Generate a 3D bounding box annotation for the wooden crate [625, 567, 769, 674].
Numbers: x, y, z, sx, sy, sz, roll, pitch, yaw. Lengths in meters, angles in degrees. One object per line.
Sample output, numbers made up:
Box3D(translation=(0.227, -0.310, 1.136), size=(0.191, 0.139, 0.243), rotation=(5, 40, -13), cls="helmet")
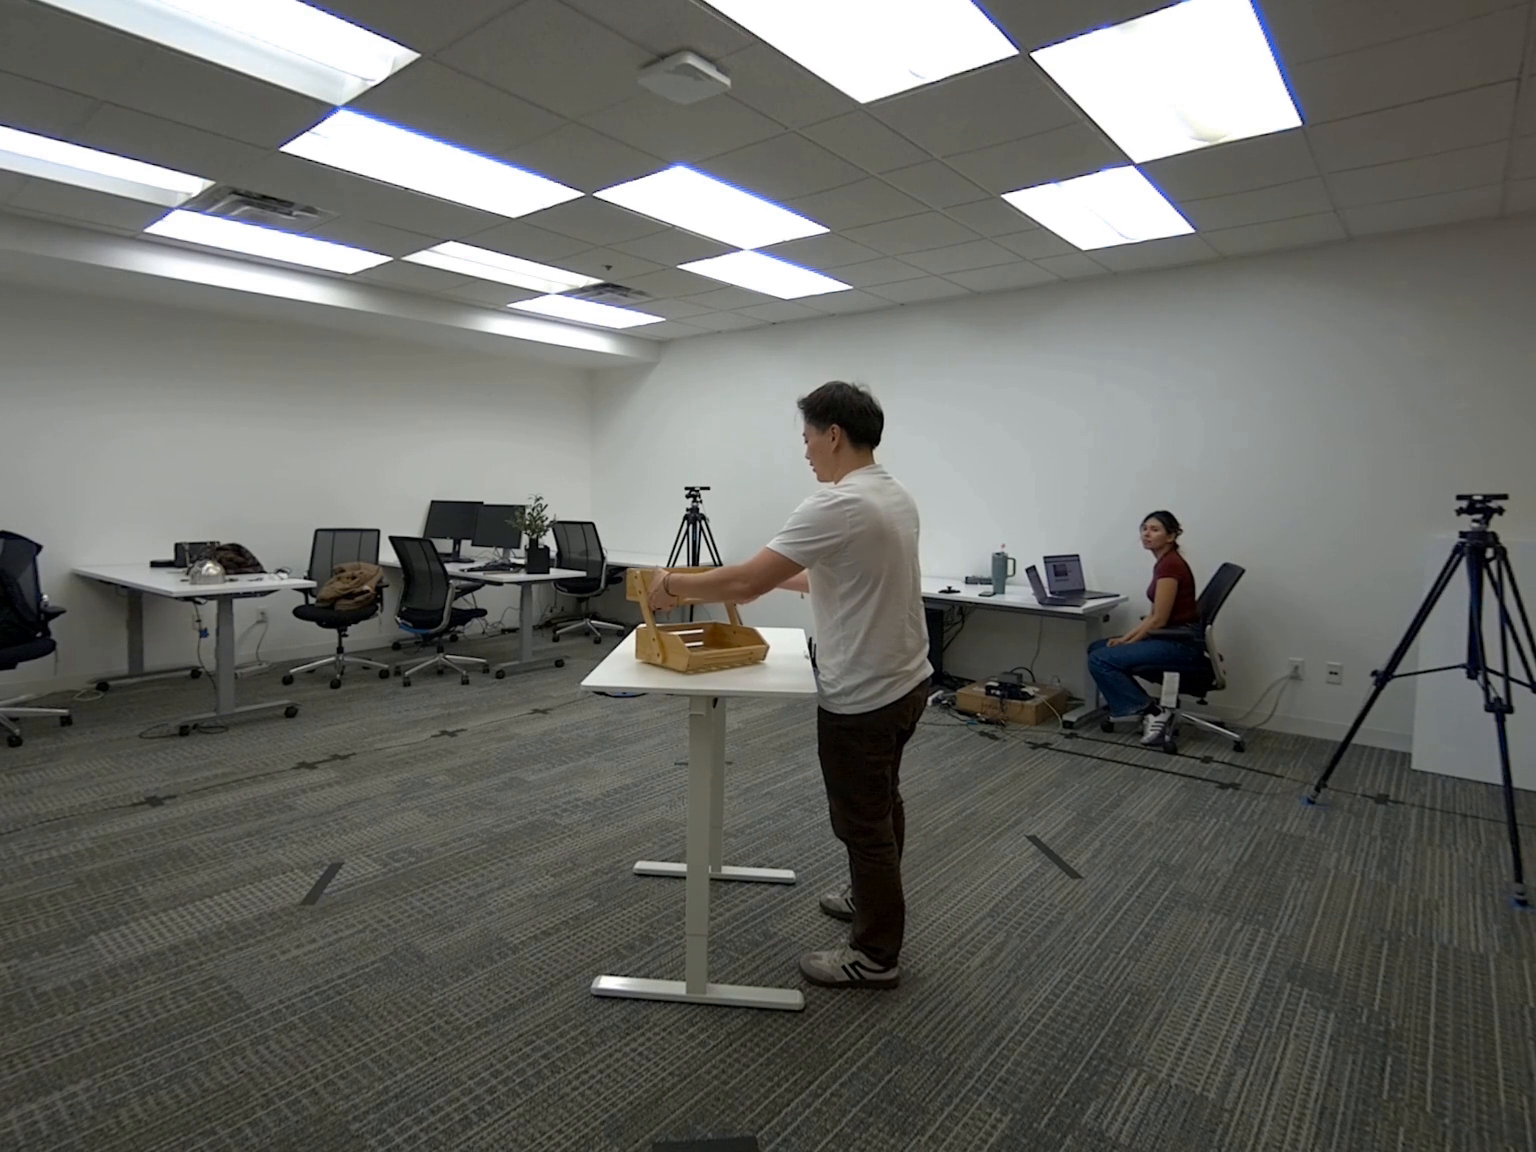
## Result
Box3D(translation=(-0.212, 0.106, 2.482), size=(0.314, 0.273, 0.312), rotation=(-1, 3, -42), cls="wooden crate")
